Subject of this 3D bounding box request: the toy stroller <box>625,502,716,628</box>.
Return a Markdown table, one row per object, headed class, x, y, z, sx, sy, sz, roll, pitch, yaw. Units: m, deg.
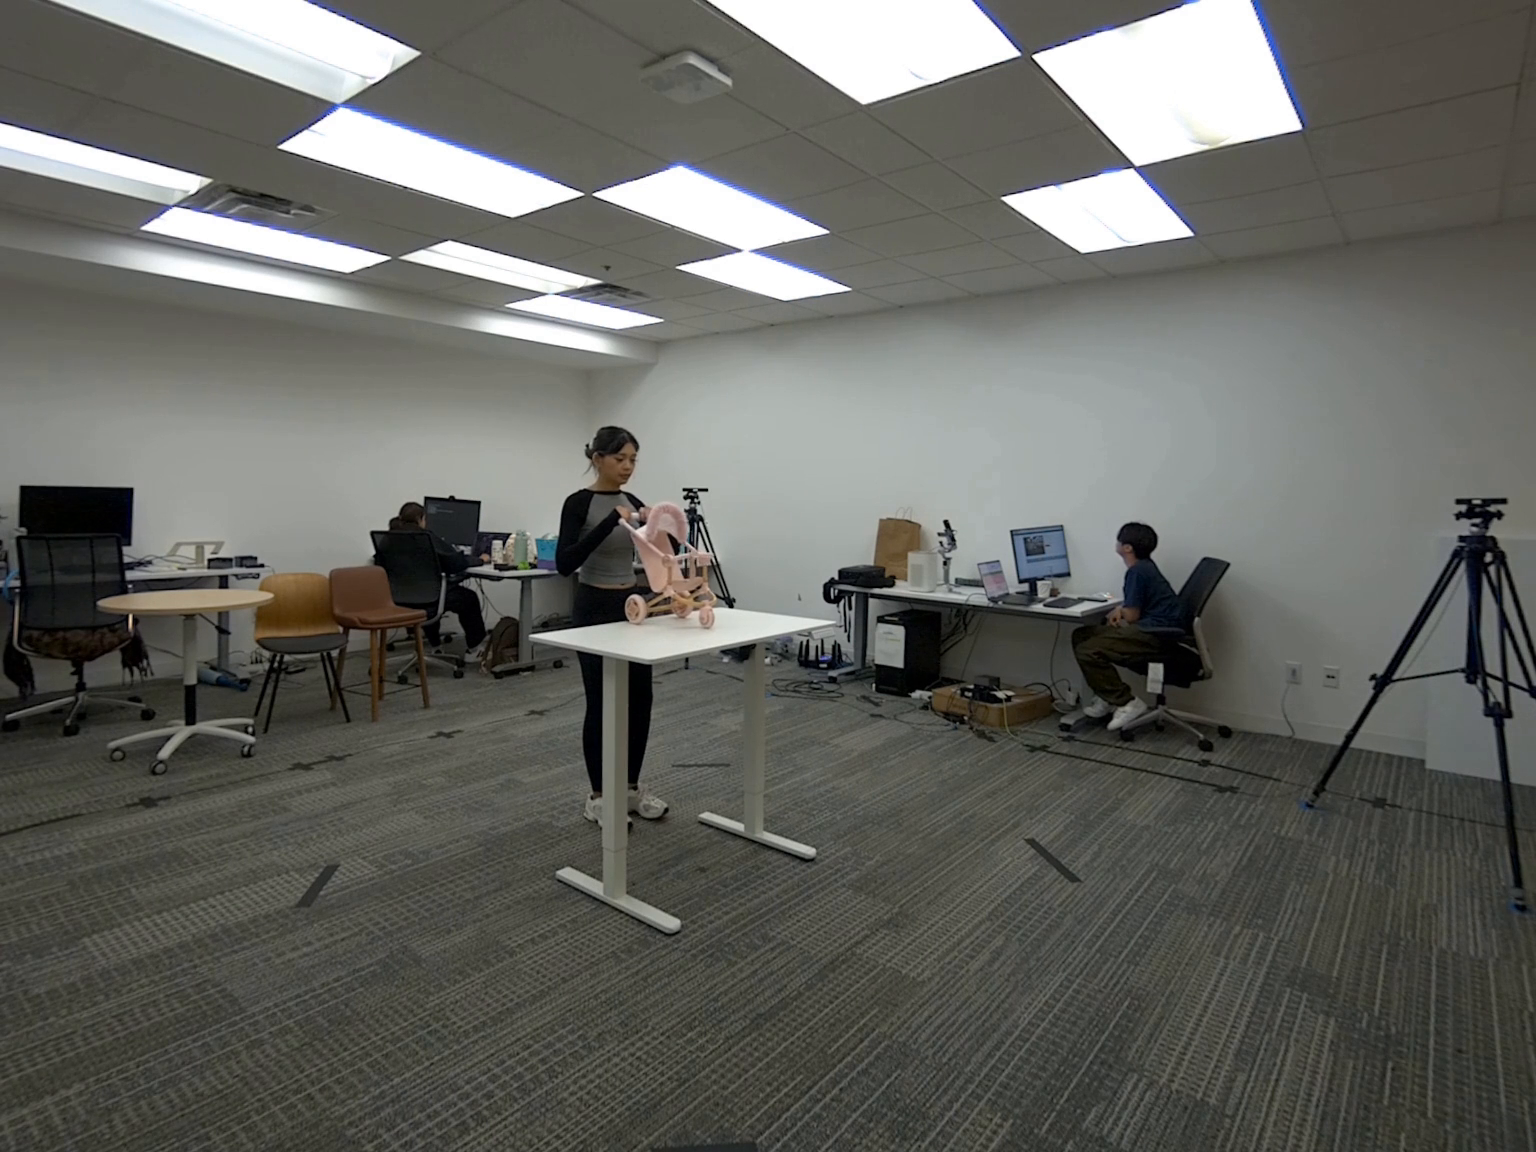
| class | x | y | z | sx | sy | sz | roll | pitch | yaw |
| --- | --- | --- | --- | --- | --- | --- | --- | --- | --- |
| toy stroller | -0.378 | -0.047 | 3.215 | 0.273 | 0.541 | 0.348 | -2 | -13 | -45 |
